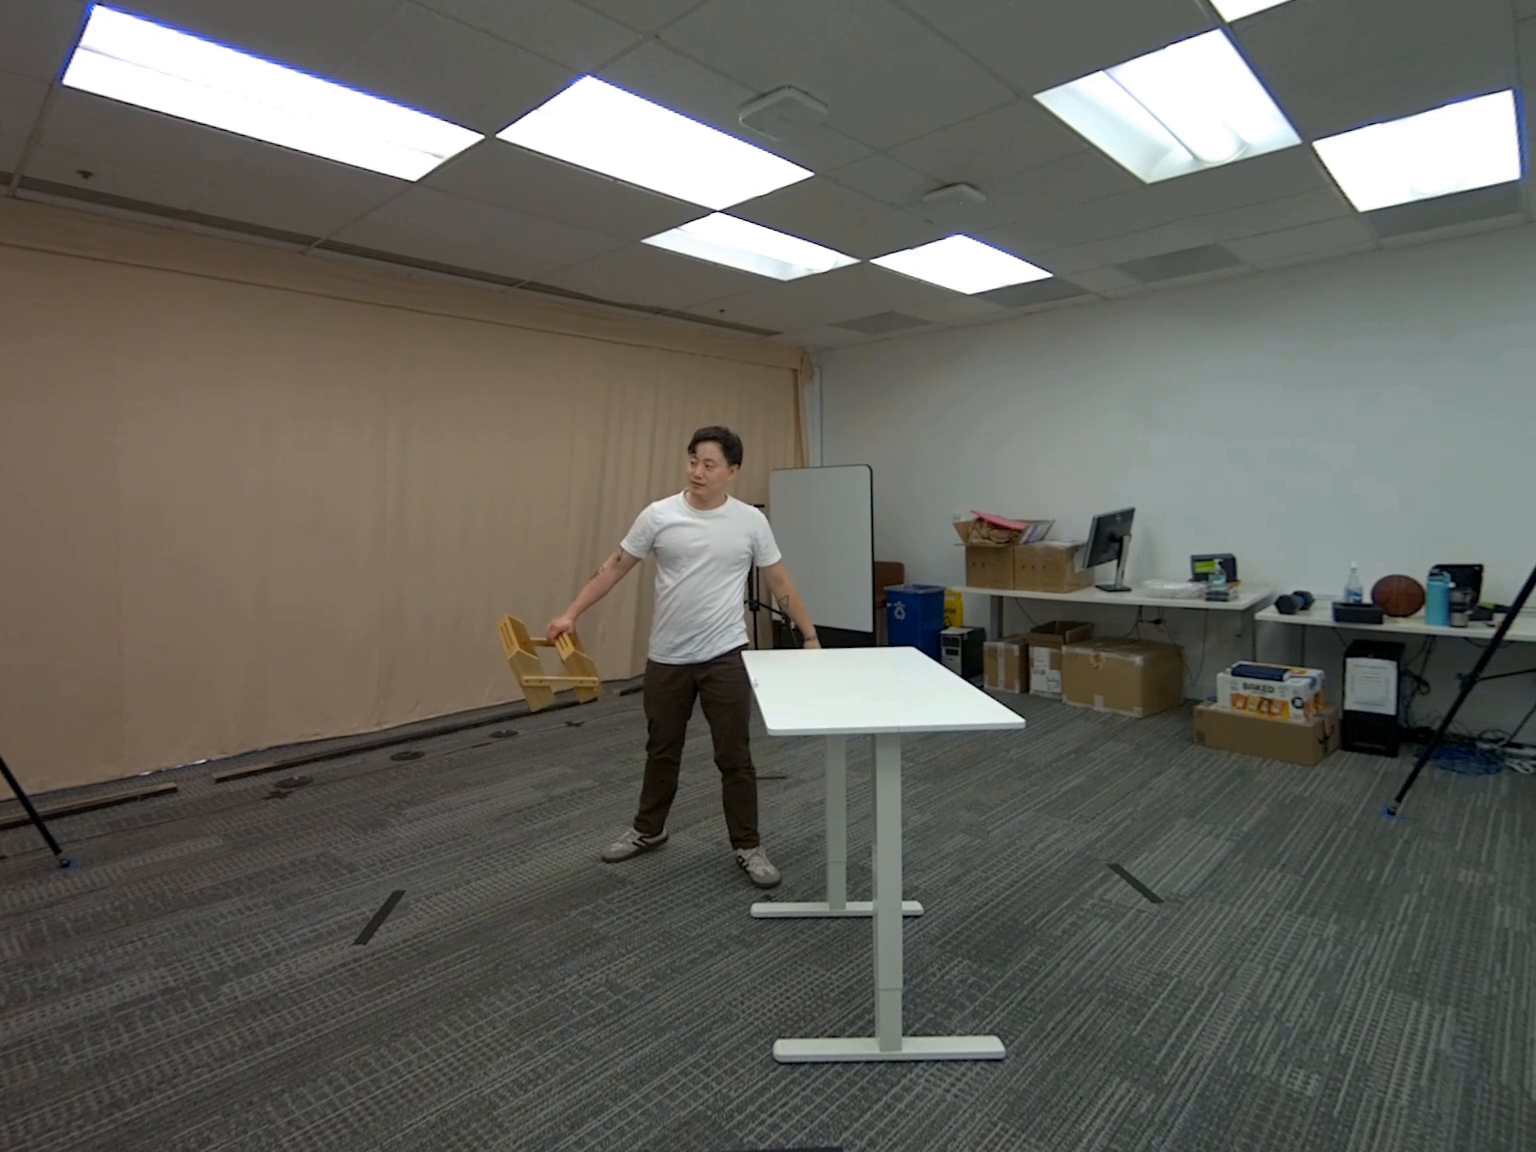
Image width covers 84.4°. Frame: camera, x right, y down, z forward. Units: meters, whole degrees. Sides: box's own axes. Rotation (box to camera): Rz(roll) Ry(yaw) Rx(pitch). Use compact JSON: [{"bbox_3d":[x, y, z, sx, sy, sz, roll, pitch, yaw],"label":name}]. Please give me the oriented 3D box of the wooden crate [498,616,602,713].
[{"bbox_3d":[-0.801,0.286,3.061,0.270,0.296,0.335,-23,28,-16],"label":"wooden crate"}]
